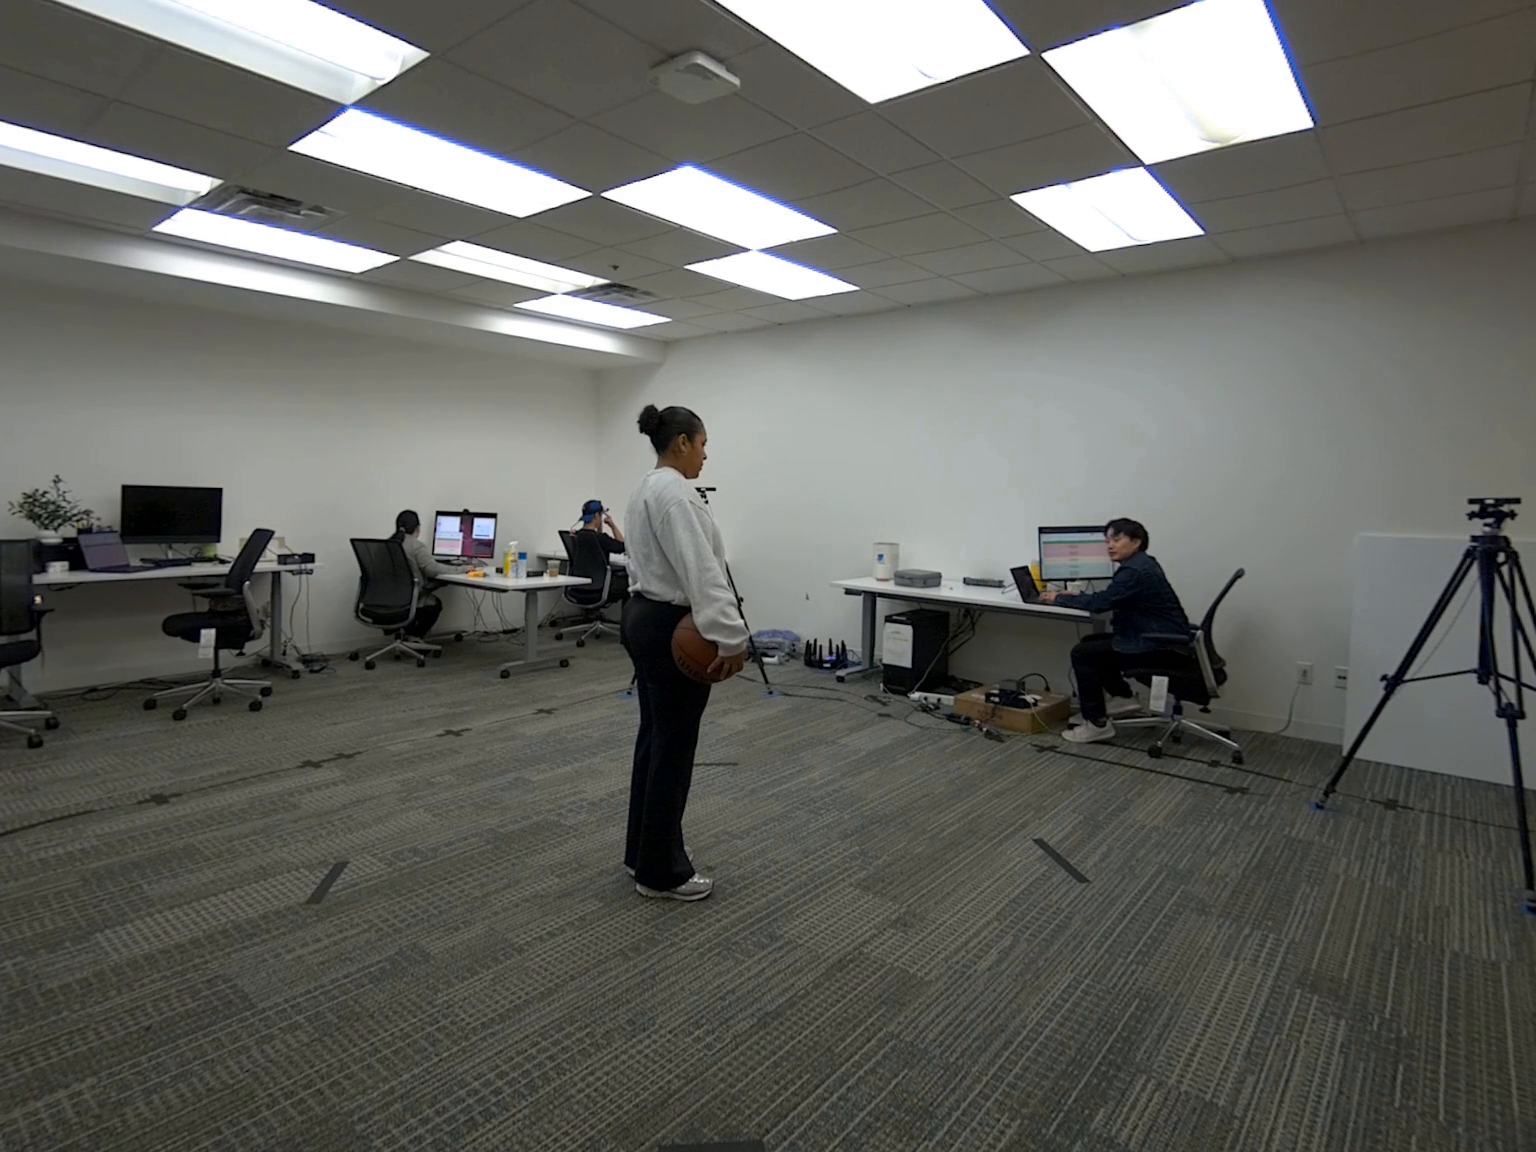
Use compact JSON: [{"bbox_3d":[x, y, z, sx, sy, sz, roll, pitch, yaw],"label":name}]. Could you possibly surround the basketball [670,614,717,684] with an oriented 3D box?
[{"bbox_3d":[-0.195,0.216,2.704,0.235,0.235,0.237,1,4,-2],"label":"basketball"}]
